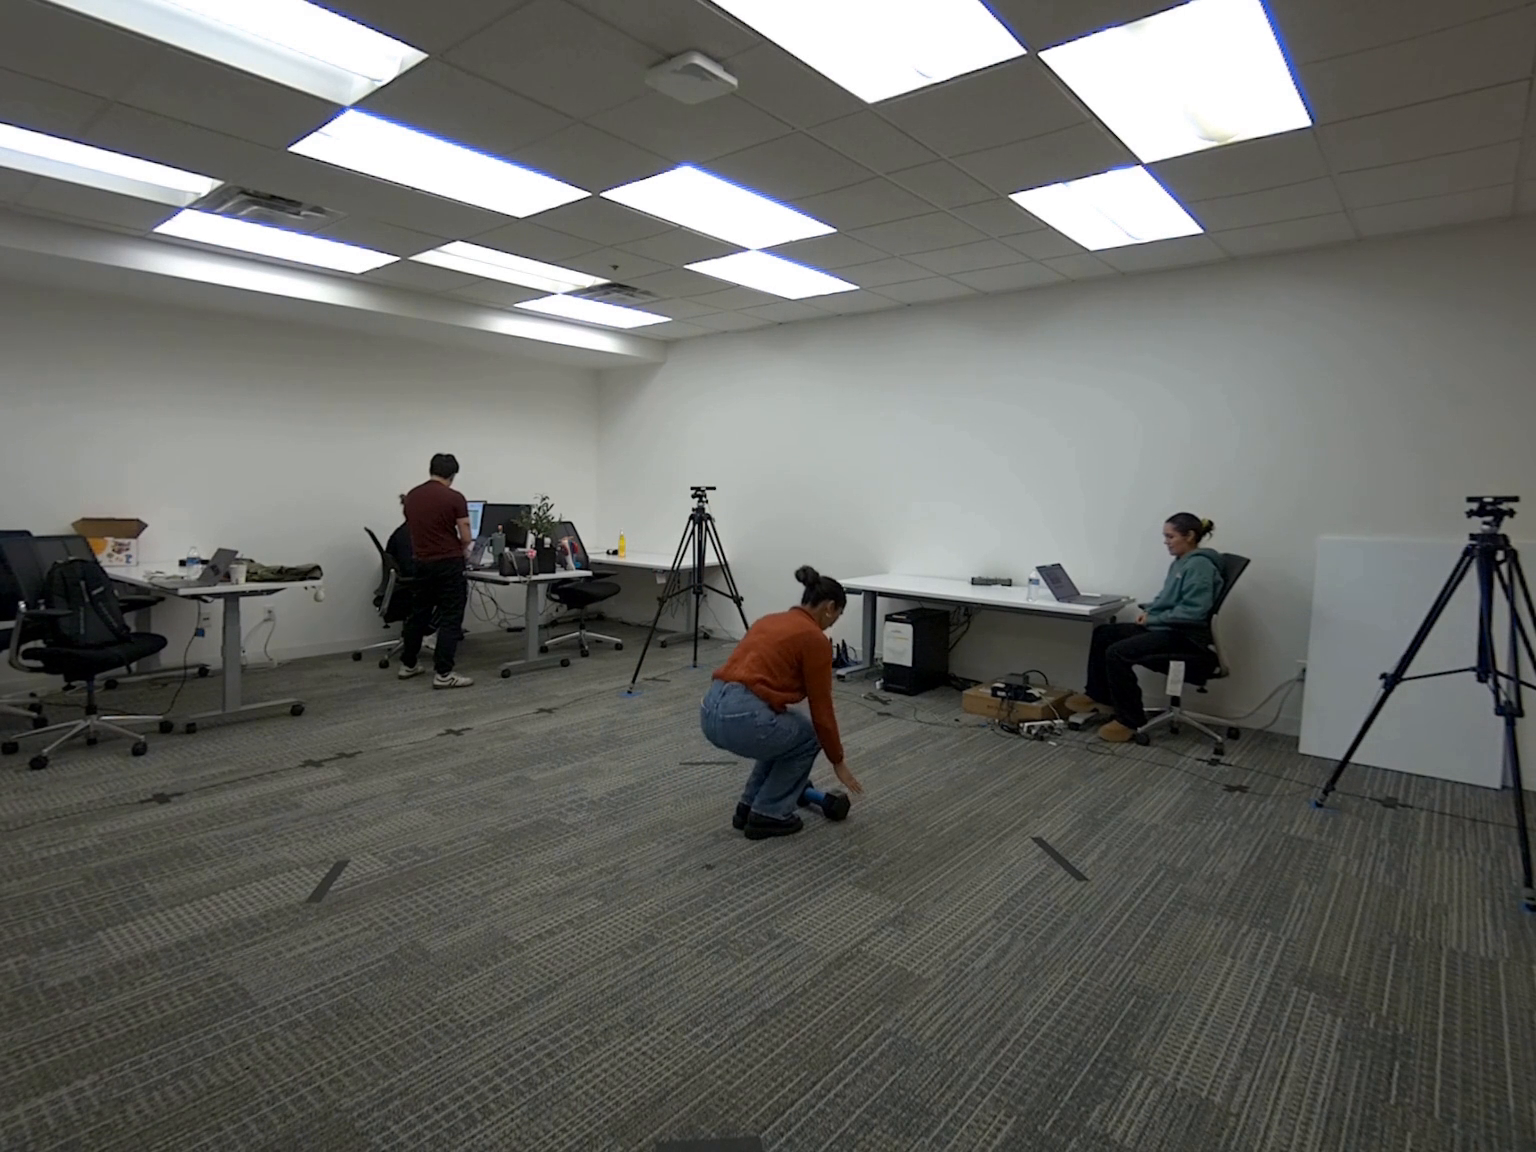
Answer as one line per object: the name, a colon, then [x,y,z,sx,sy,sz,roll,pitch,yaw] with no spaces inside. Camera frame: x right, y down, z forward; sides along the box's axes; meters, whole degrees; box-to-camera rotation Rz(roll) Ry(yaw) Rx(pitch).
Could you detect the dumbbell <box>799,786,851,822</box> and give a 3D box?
dumbbell: [0.212,0.959,3.696,0.108,0.120,0.303,-37,26,-32]
